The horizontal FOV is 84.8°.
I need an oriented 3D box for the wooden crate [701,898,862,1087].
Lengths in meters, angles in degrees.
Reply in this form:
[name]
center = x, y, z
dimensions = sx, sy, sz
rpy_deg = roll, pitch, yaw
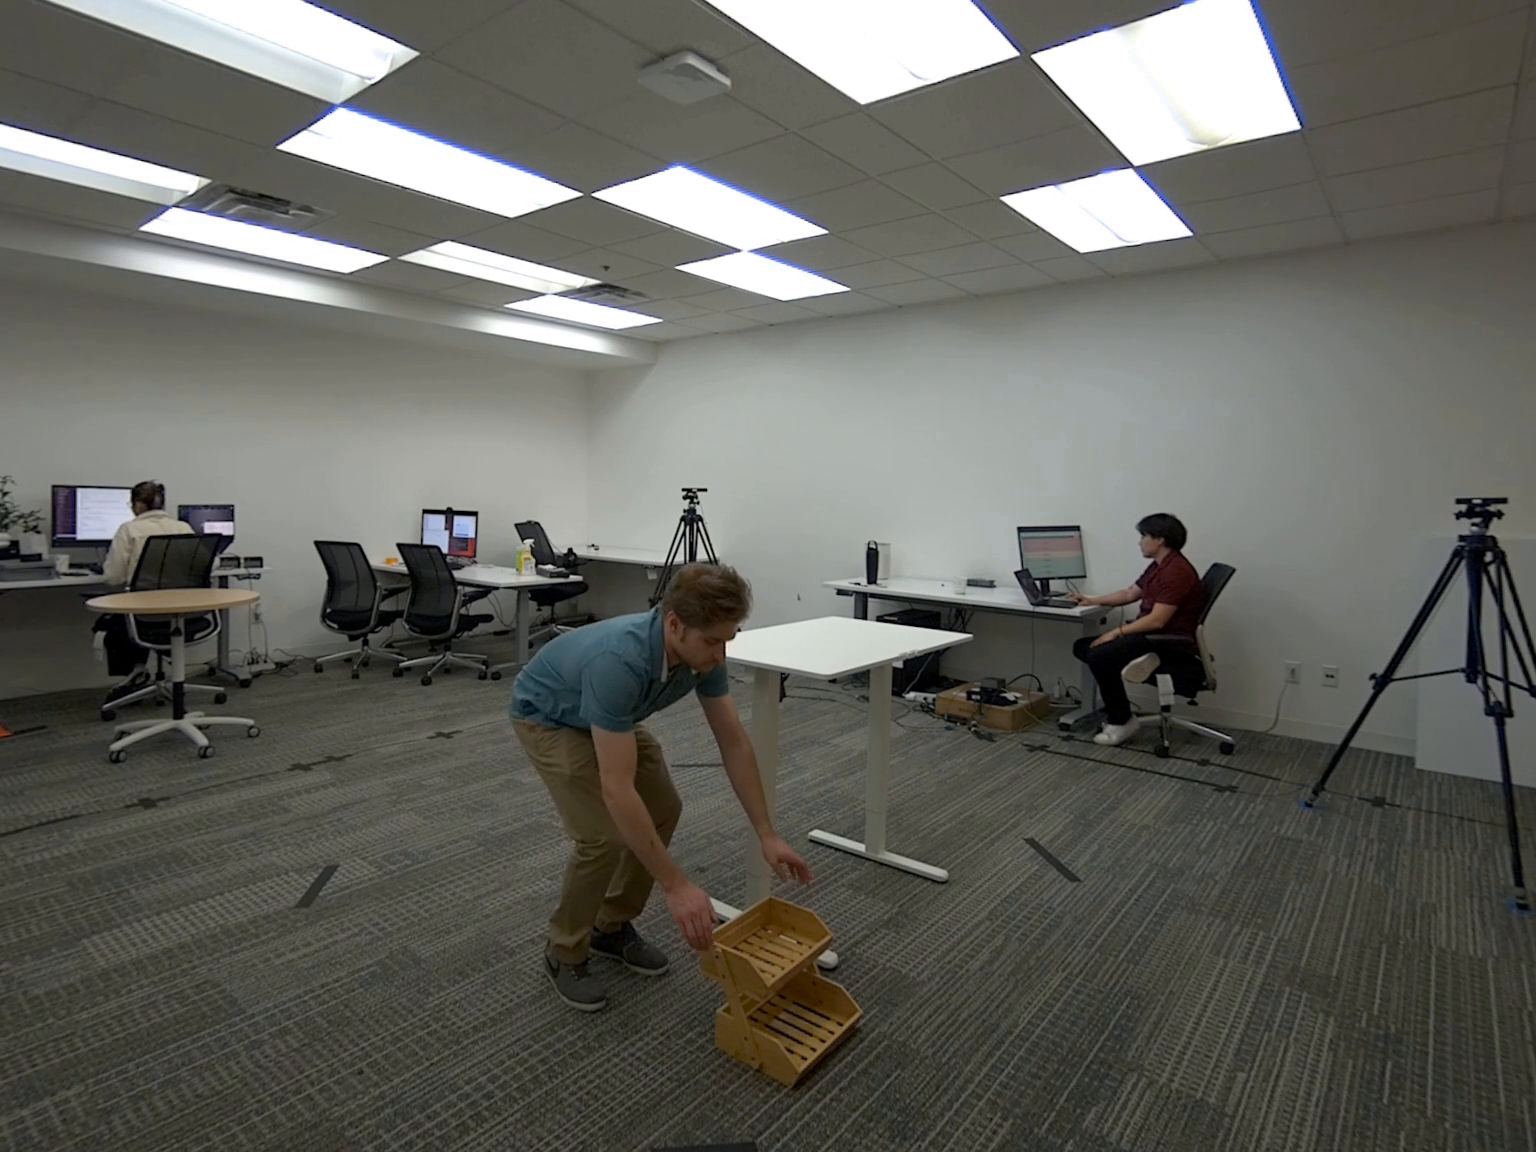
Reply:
[wooden crate]
center = 0.033, 1.034, 2.168
dimensions = 0.312, 0.272, 0.315
rpy_deg = 3, 5, 36
